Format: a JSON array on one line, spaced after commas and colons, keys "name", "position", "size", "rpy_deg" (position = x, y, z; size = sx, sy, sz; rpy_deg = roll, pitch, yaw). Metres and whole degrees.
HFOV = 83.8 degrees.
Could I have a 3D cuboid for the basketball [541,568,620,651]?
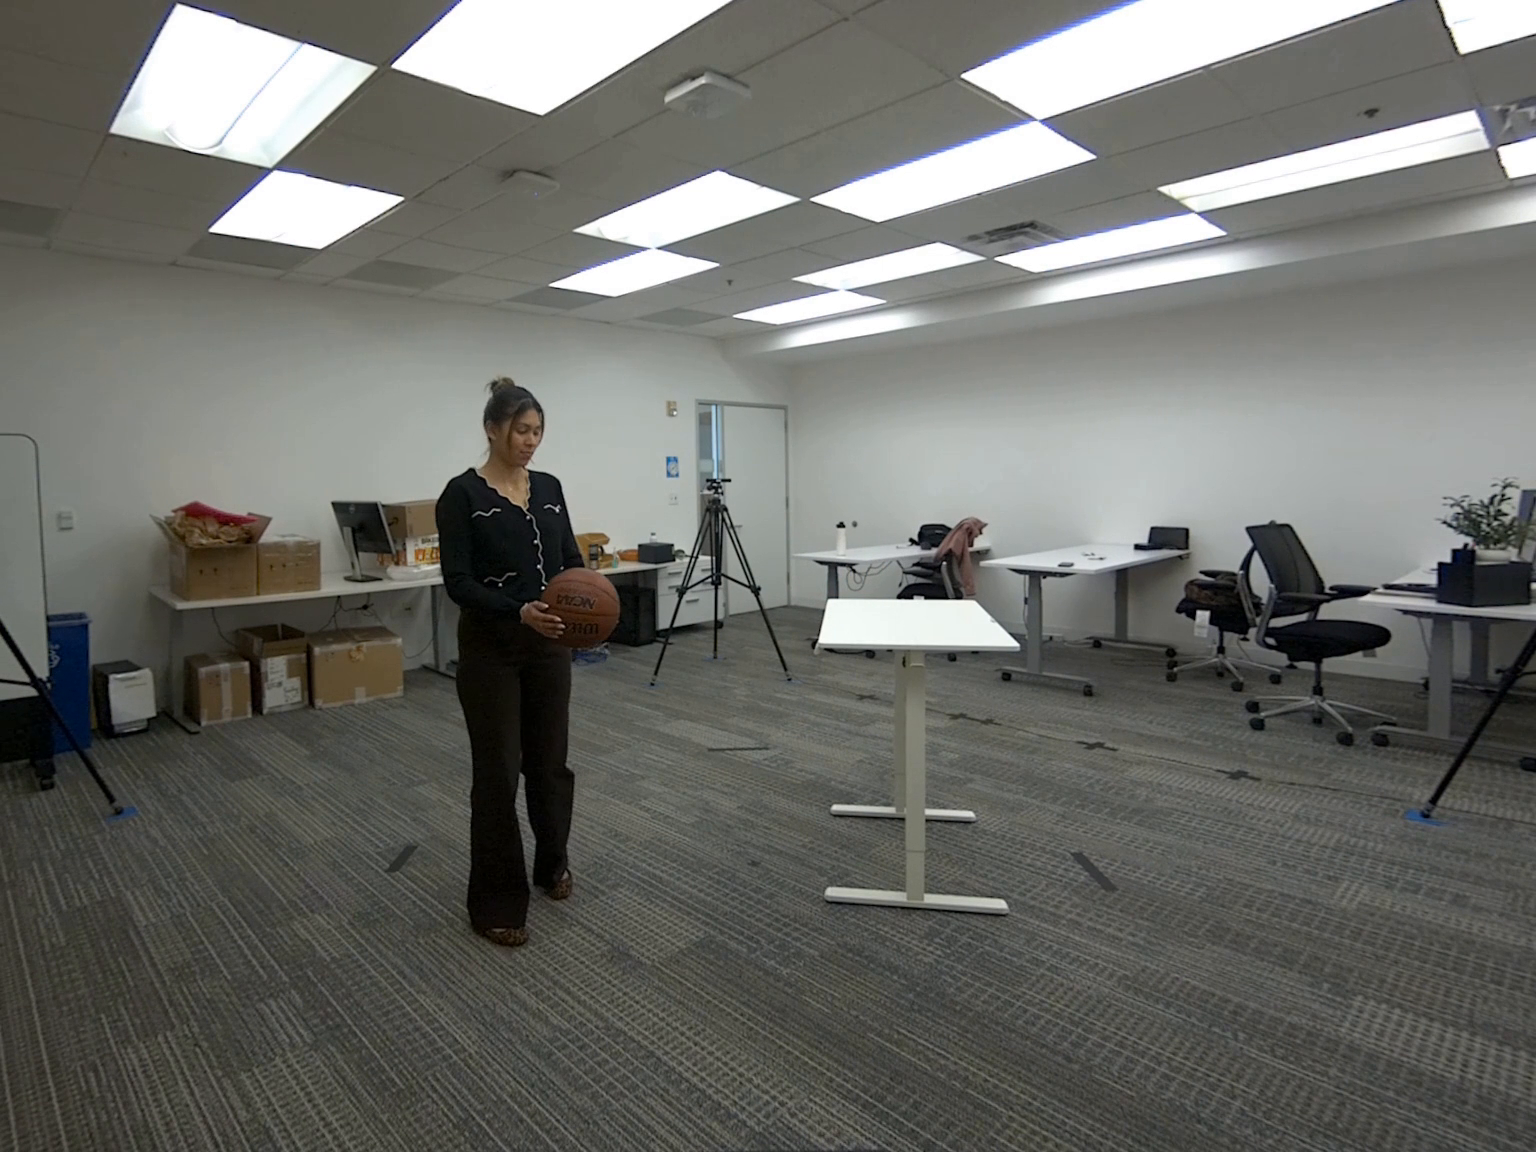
[{"name": "basketball", "position": [-0.553, 0.095, 2.511], "size": [0.236, 0.235, 0.237], "rpy_deg": [-1, 5, -2]}]
